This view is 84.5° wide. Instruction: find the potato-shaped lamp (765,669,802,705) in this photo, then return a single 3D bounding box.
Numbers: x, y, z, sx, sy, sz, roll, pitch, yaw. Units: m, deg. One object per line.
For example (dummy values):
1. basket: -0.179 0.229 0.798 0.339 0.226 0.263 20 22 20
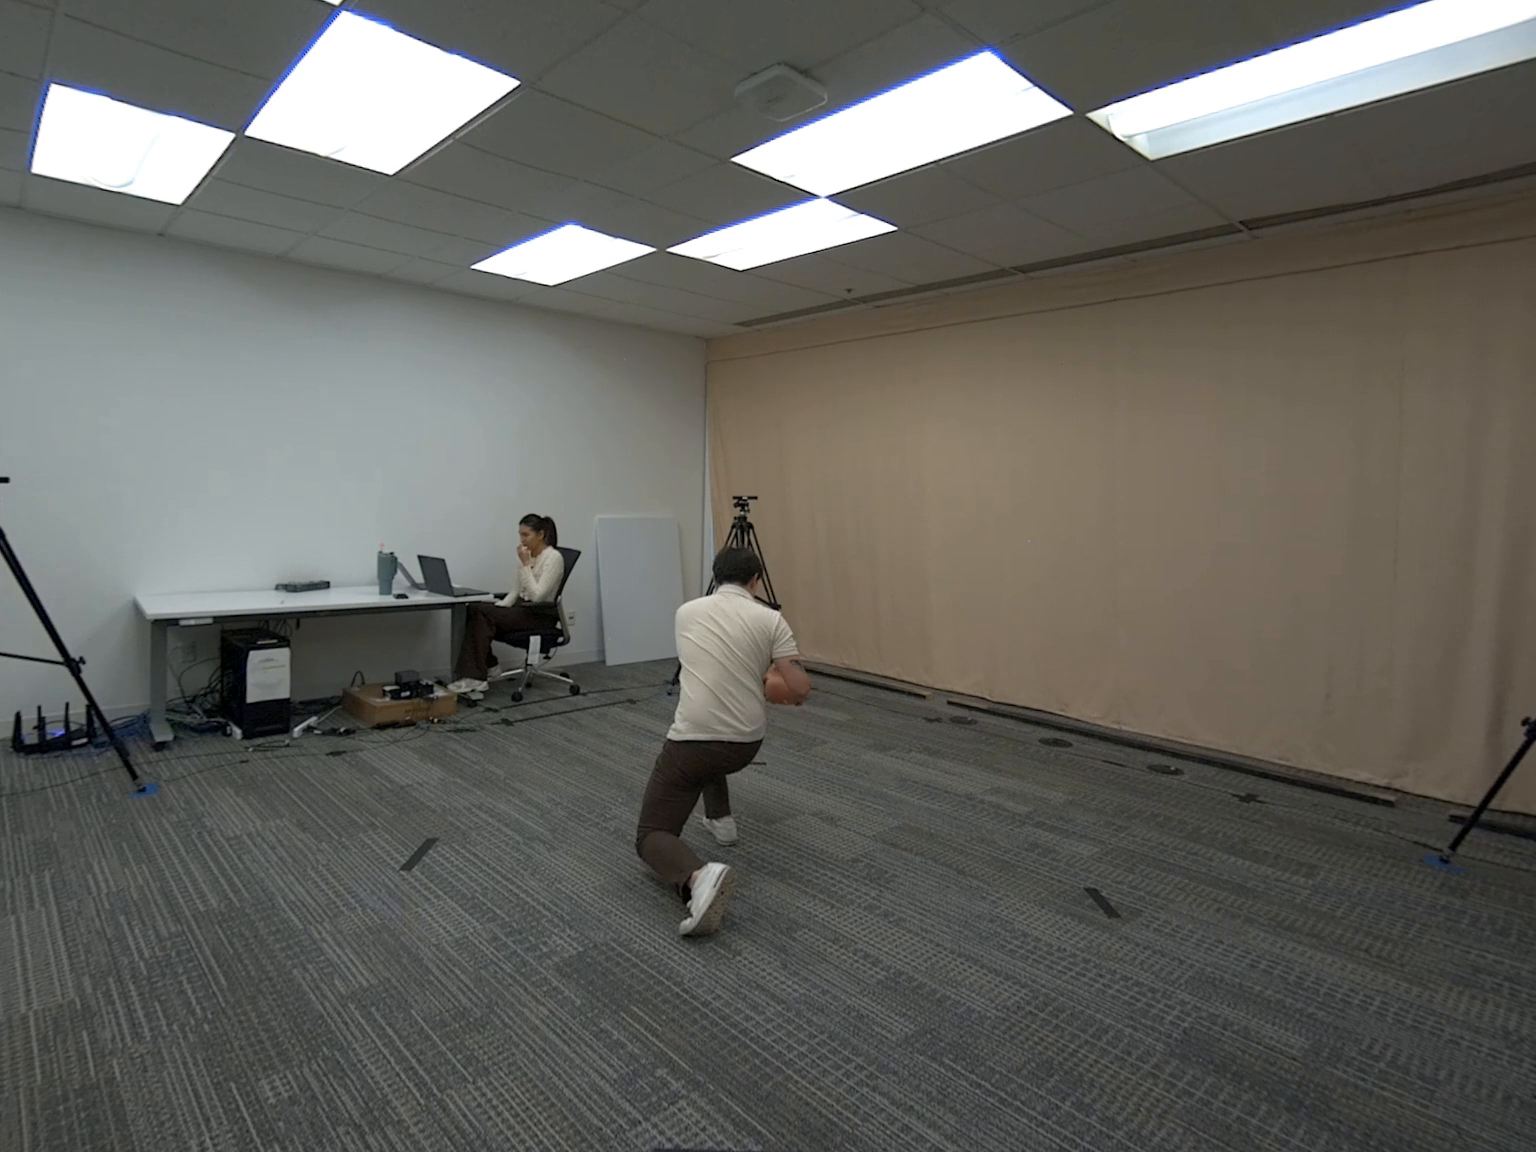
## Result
1. potato-shaped lamp: 0.051 0.440 3.526 0.164 0.198 0.172 6 2 -6
